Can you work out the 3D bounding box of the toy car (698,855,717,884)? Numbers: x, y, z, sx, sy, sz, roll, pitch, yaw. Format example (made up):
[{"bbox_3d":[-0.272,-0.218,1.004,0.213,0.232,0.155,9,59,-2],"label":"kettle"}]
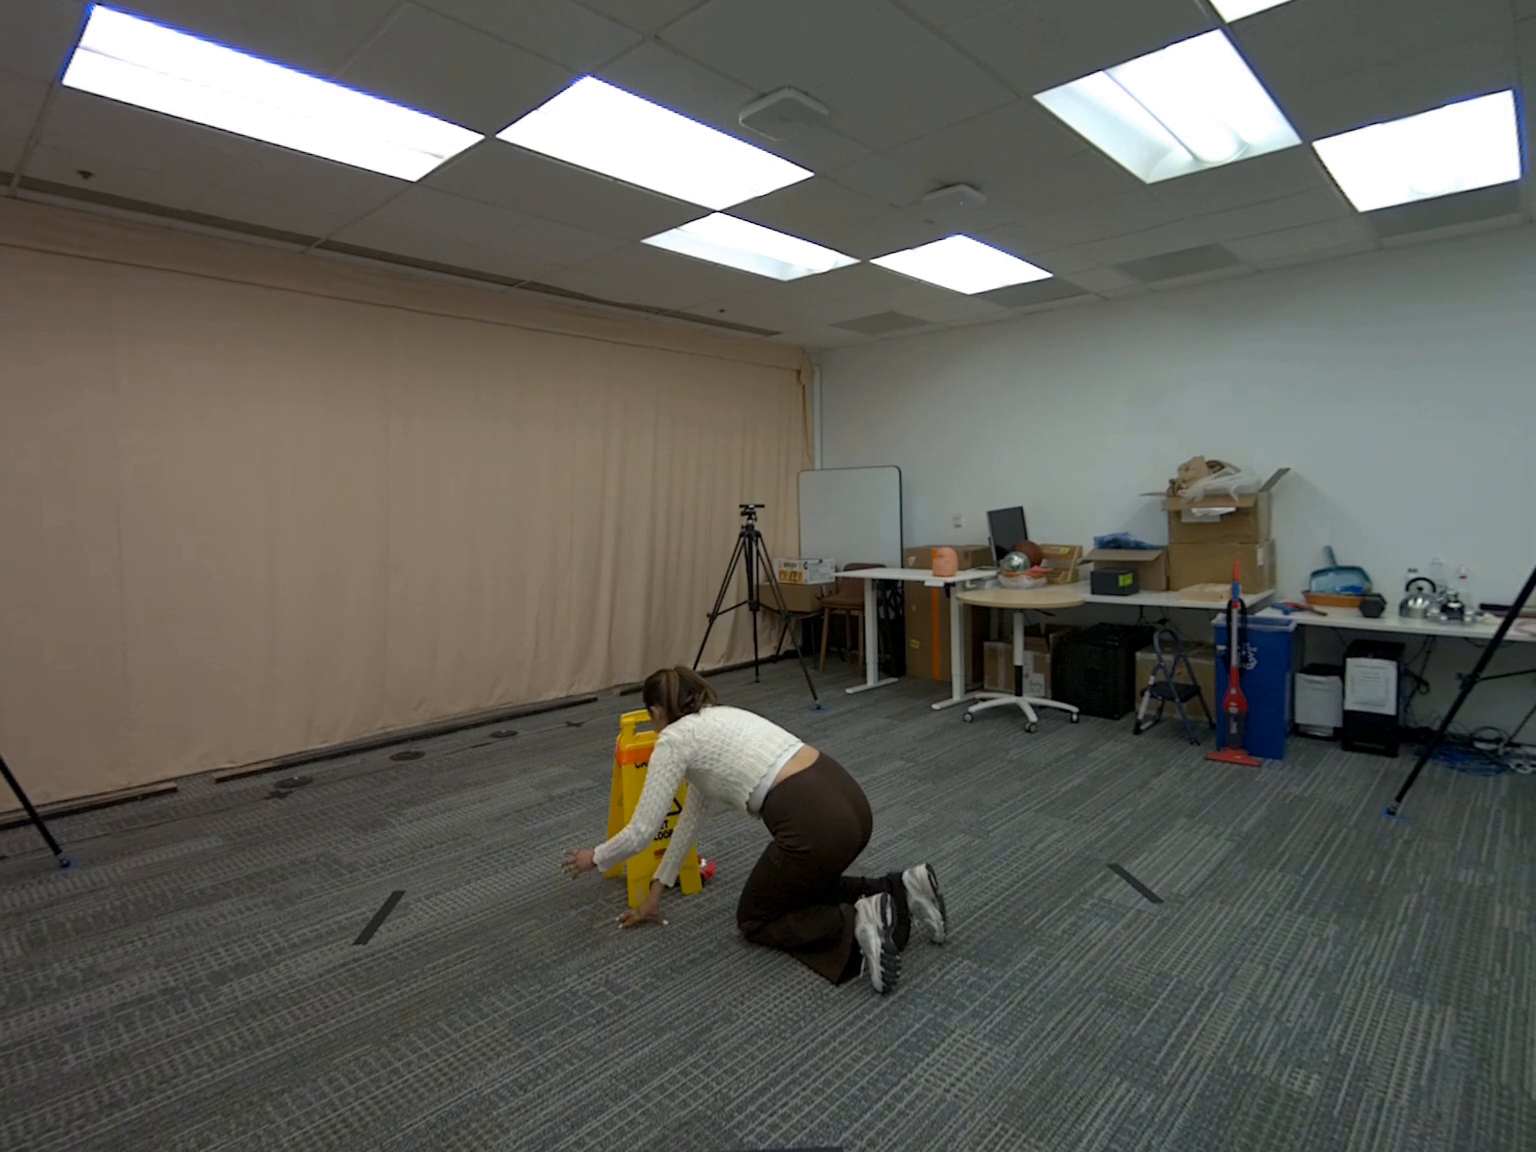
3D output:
[{"bbox_3d":[-0.326,1.101,3.117,0.253,0.083,0.131,-12,5,-6],"label":"toy car"}]
